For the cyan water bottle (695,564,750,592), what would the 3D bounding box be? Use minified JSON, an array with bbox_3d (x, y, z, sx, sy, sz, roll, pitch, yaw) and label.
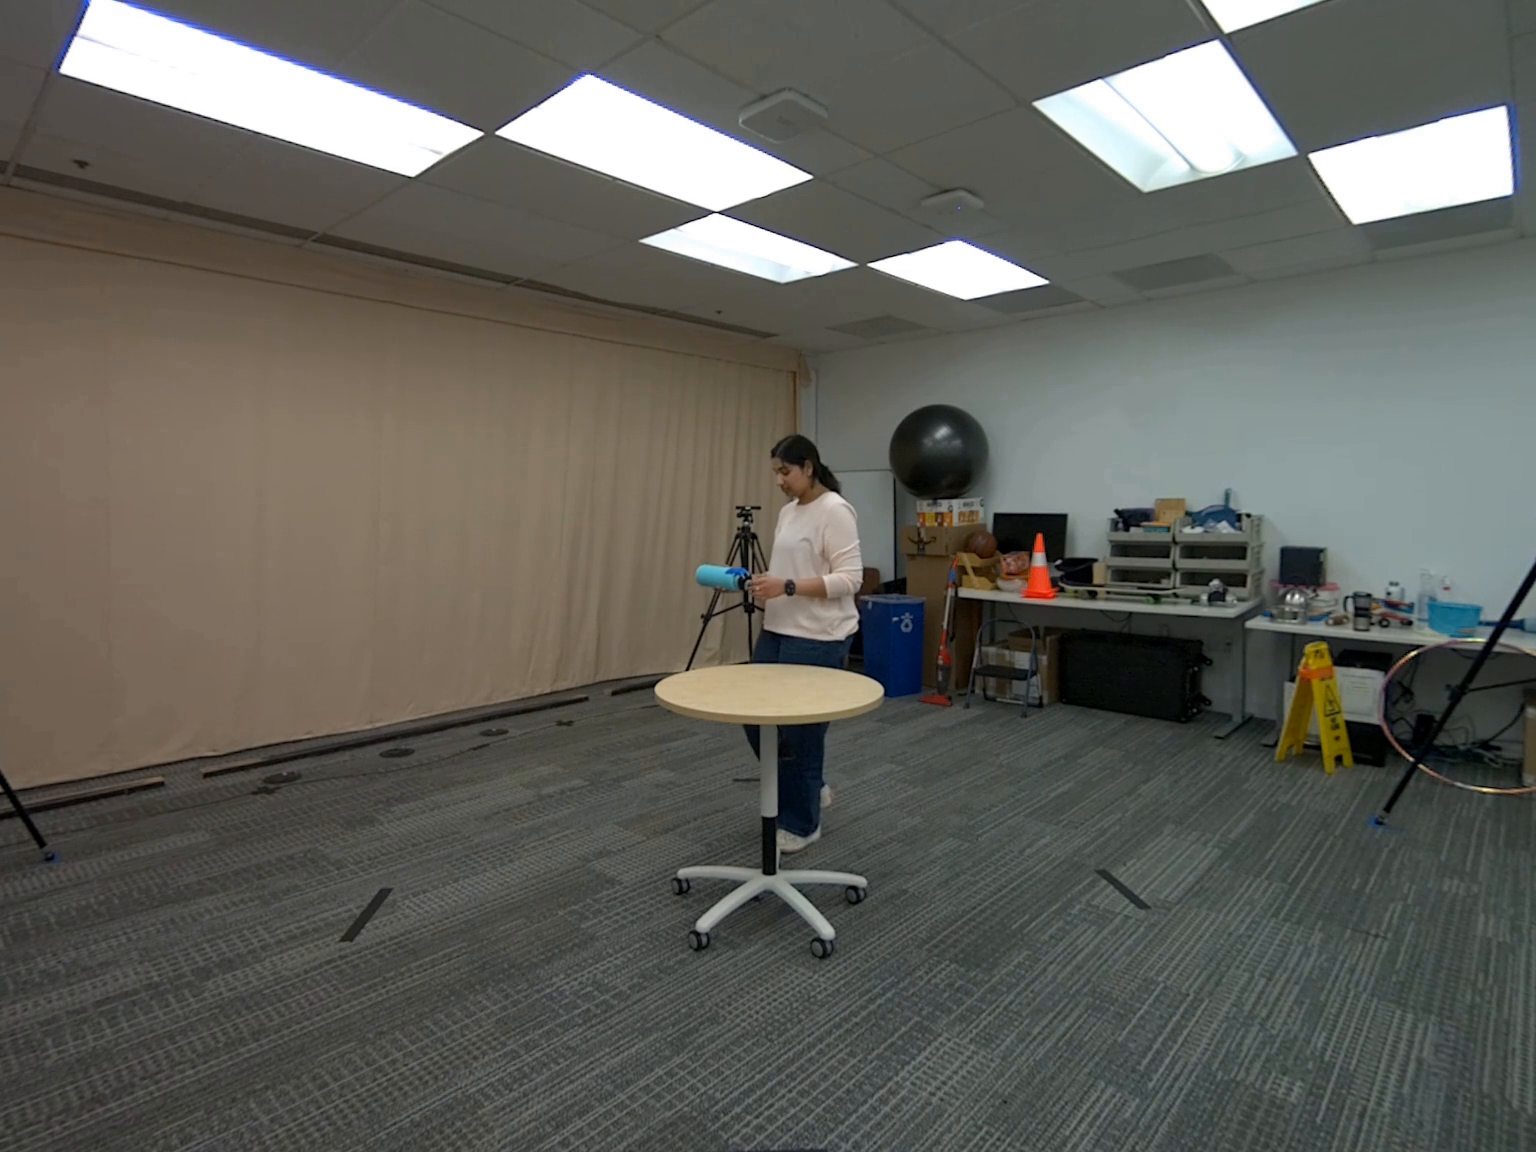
[{"bbox_3d":[-0.168,0.010,3.418,0.089,0.092,0.293,-3,7,-42],"label":"cyan water bottle"}]
